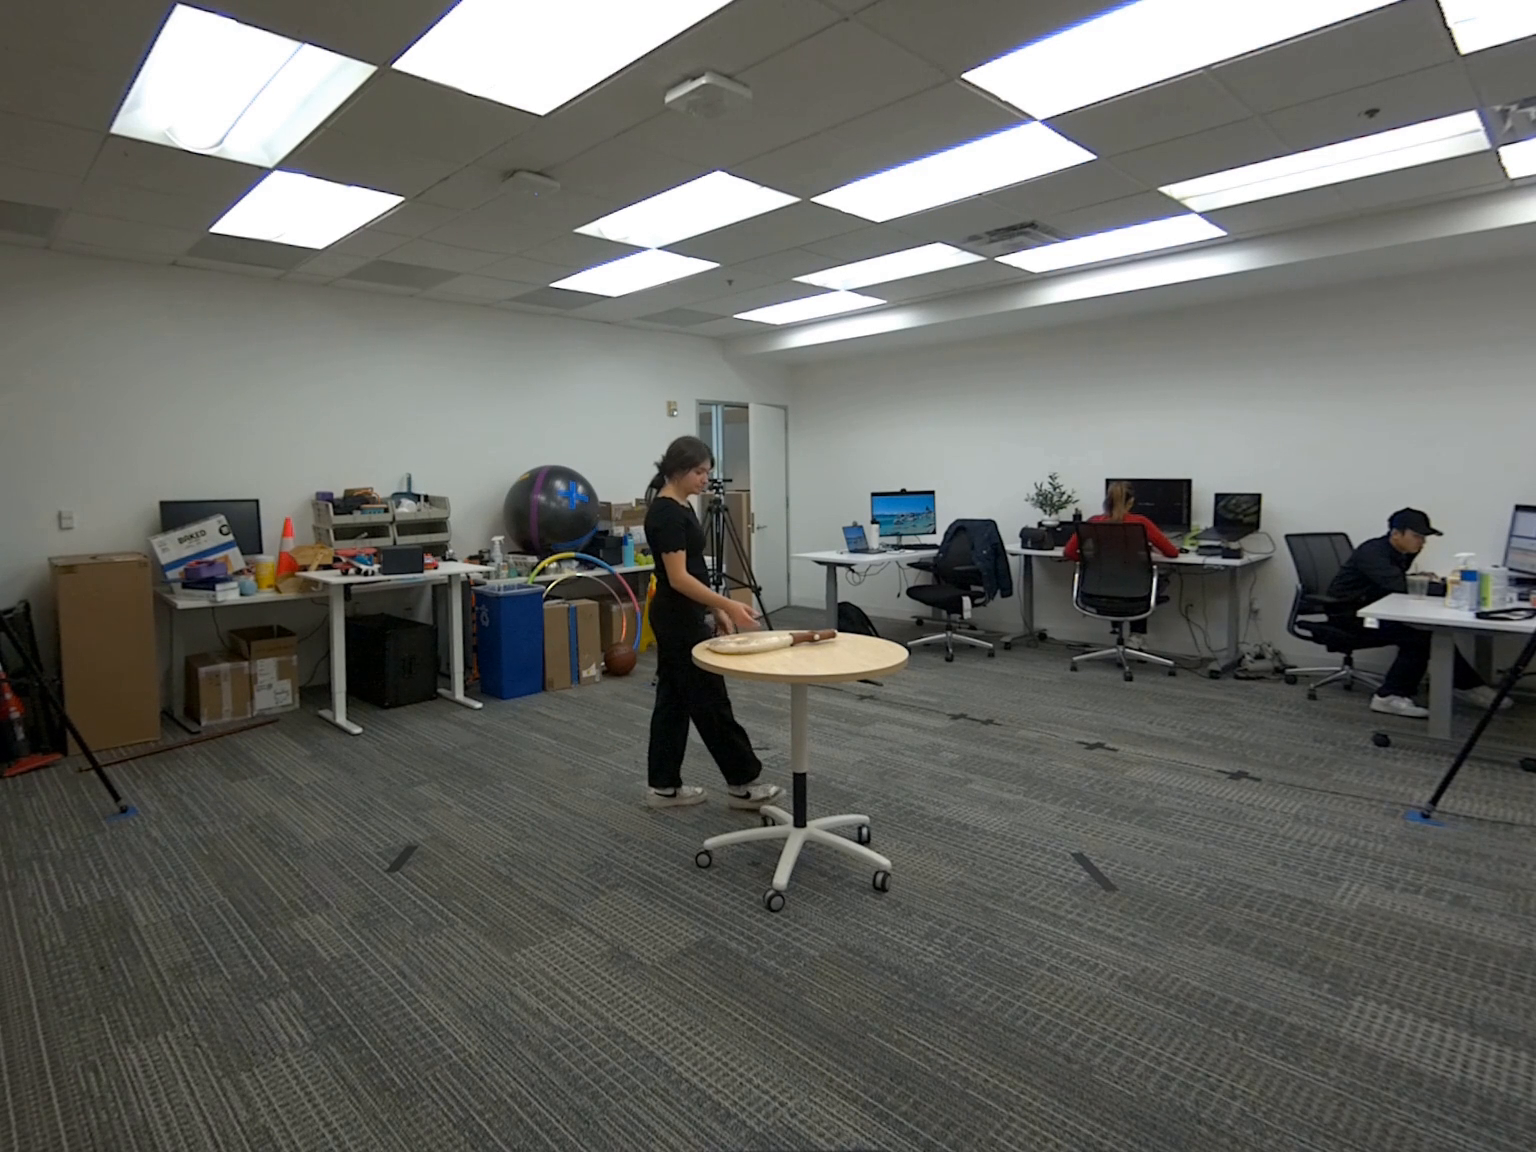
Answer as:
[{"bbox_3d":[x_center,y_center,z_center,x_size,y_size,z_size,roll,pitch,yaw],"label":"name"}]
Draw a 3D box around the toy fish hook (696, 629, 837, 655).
[{"bbox_3d":[0.013,0.232,3.139,0.496,0.048,0.231,-4,11,-27],"label":"toy fish hook"}]
